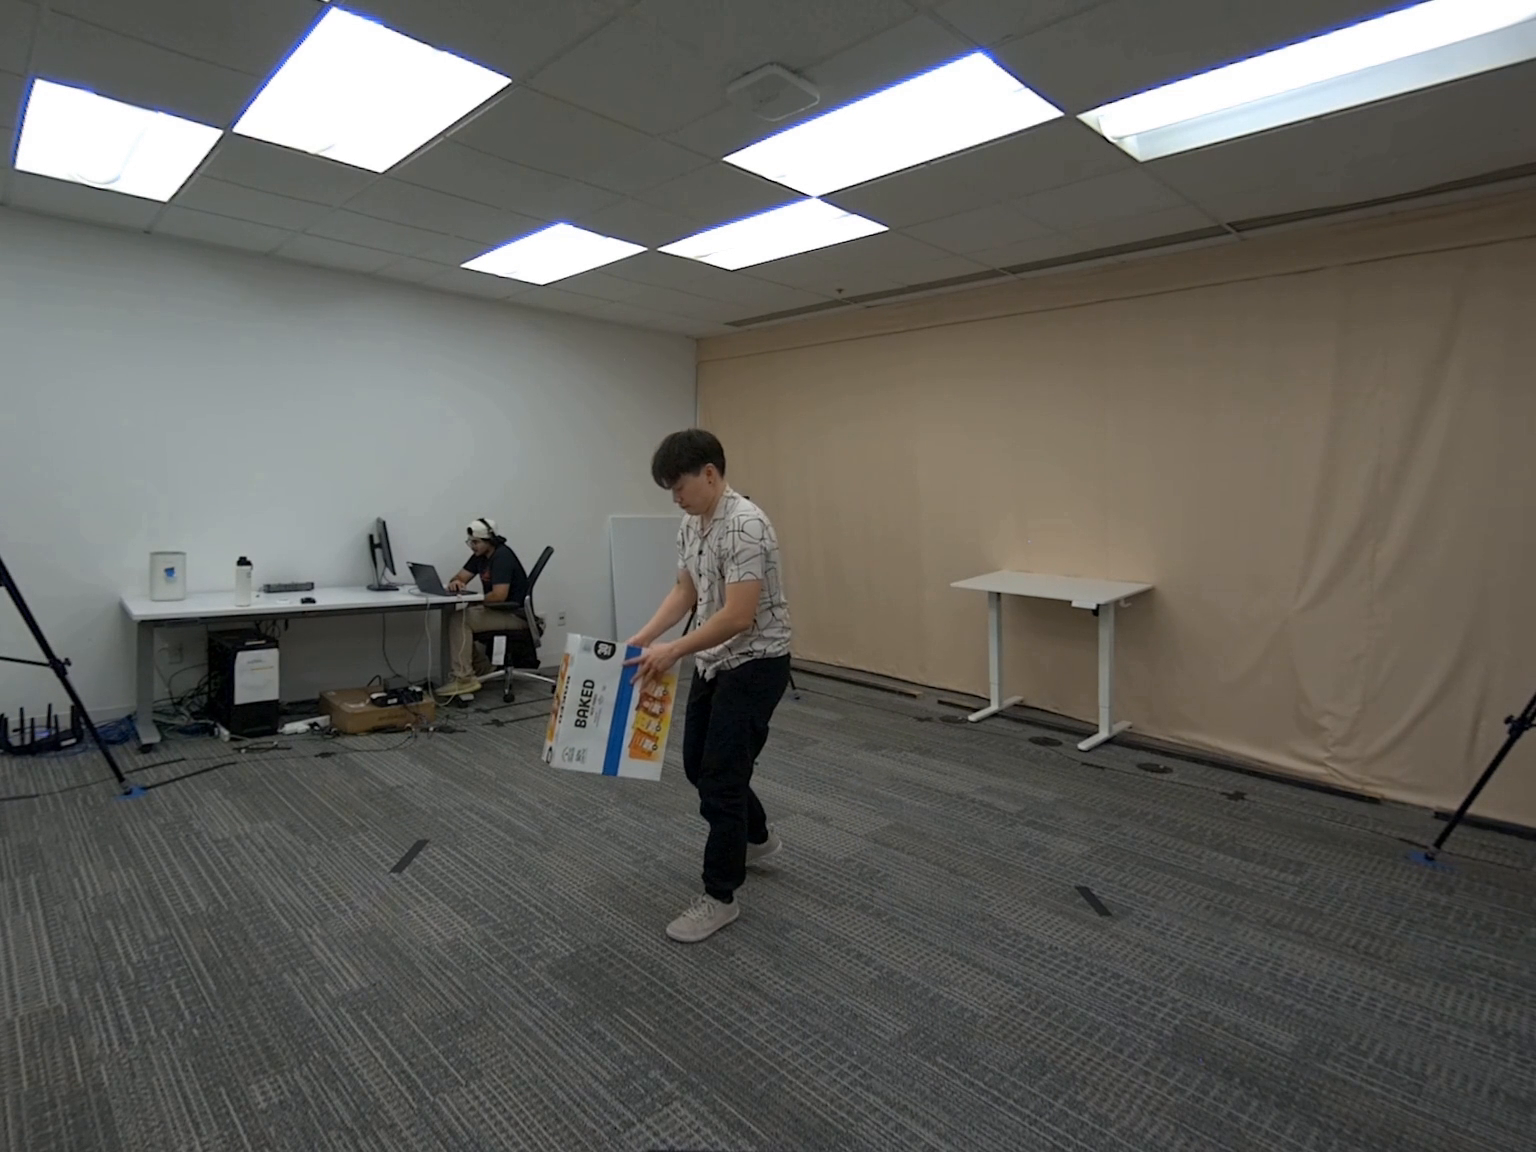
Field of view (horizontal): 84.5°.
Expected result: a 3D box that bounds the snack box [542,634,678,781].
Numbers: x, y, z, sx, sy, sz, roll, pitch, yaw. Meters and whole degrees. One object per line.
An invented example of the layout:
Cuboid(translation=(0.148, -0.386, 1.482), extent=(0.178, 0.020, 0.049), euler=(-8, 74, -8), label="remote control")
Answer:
Cuboid(translation=(-0.504, 0.424, 2.692), extent=(0.333, 0.407, 0.209), euler=(14, -10, -24), label="snack box")
